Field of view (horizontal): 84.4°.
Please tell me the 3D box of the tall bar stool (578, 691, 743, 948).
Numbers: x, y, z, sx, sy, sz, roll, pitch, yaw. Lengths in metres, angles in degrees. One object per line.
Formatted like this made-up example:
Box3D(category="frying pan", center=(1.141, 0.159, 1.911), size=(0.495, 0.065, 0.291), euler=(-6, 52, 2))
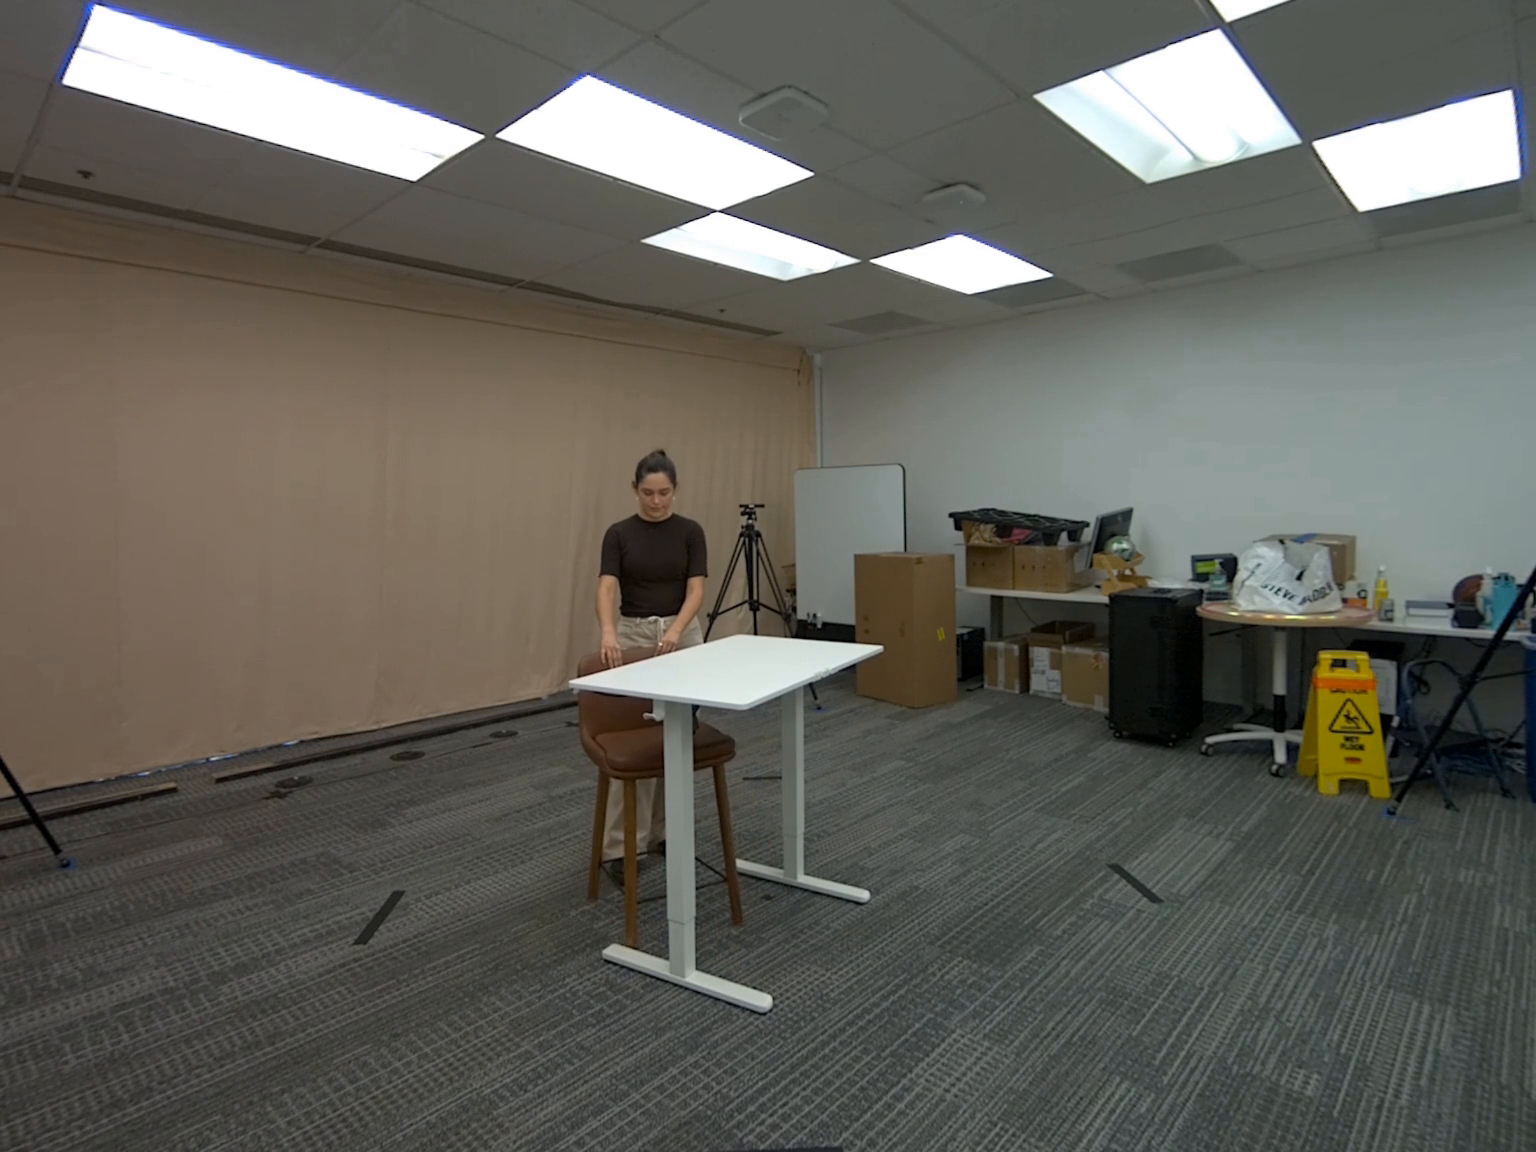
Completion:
Box3D(category="tall bar stool", center=(-0.377, 0.715, 2.882), size=(0.445, 0.889, 0.480), euler=(-3, 2, -28))
